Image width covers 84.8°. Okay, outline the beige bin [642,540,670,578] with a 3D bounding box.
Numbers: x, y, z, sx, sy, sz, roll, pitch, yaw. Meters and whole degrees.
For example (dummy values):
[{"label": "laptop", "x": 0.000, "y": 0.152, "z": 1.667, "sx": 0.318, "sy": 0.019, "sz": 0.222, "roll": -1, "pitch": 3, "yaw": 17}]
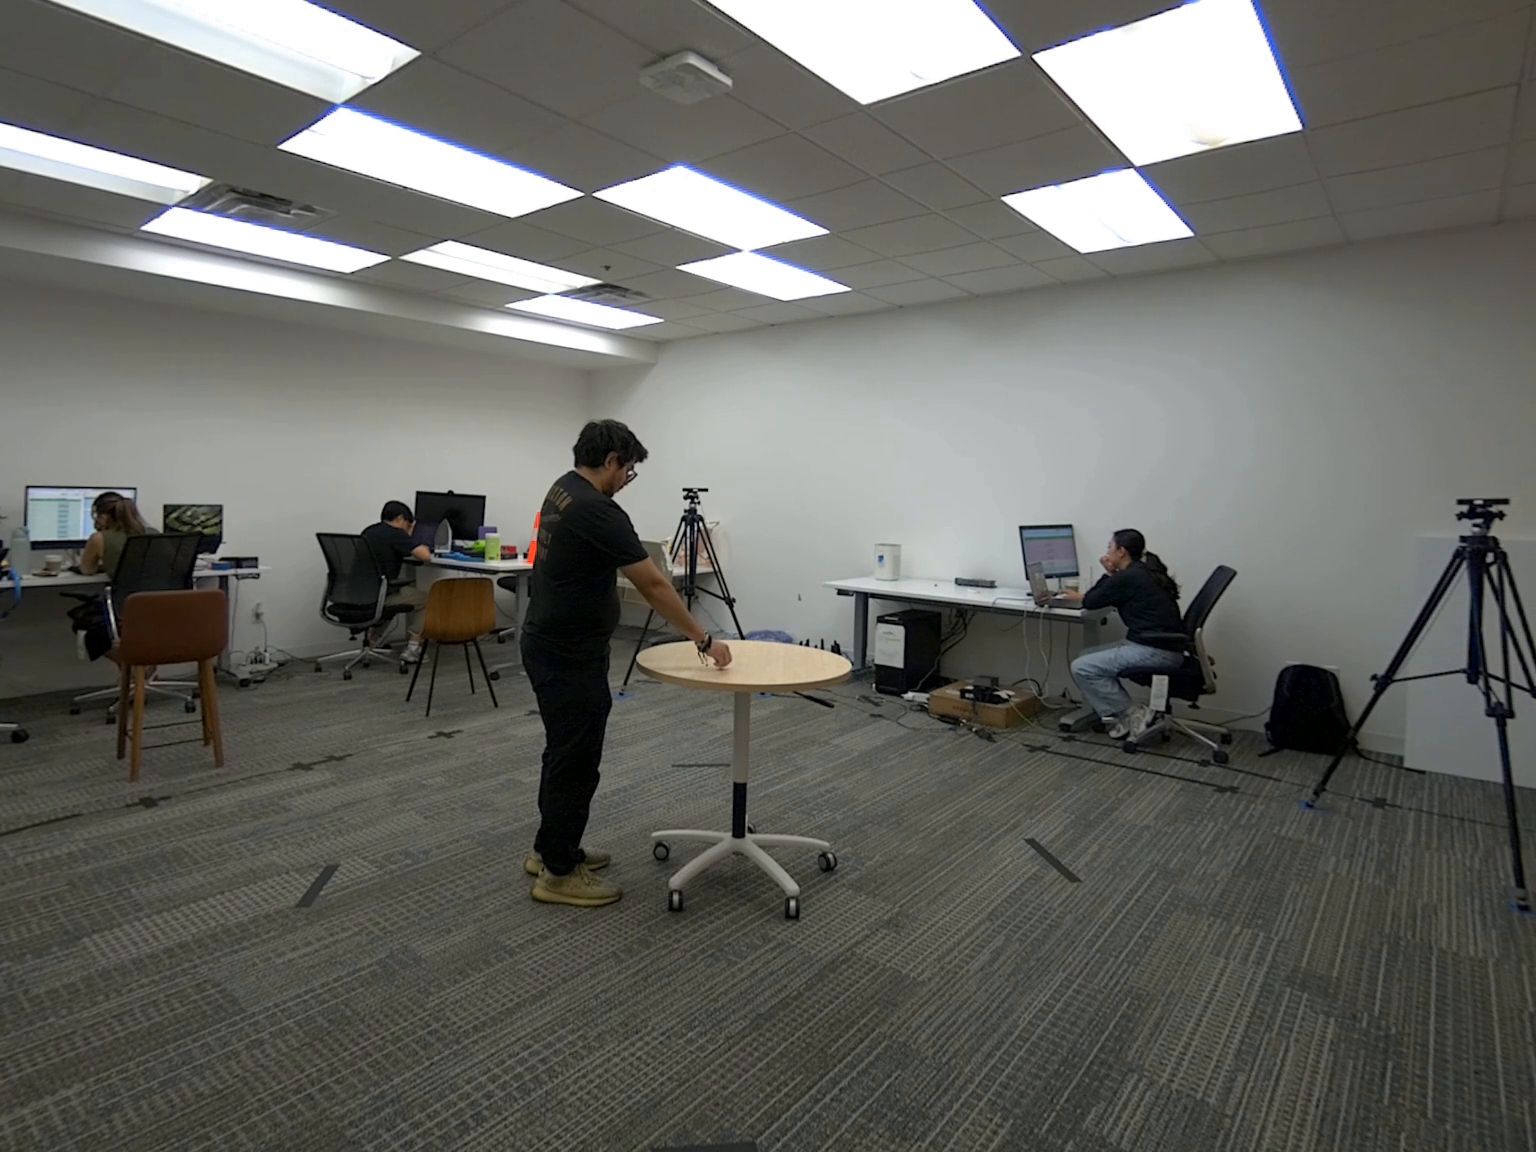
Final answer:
[{"label": "beige bin", "x": -0.607, "y": -0.022, "z": 3.229, "sx": 0.417, "sy": 0.187, "sz": 0.386, "roll": 7, "pitch": 14, "yaw": -11}]
